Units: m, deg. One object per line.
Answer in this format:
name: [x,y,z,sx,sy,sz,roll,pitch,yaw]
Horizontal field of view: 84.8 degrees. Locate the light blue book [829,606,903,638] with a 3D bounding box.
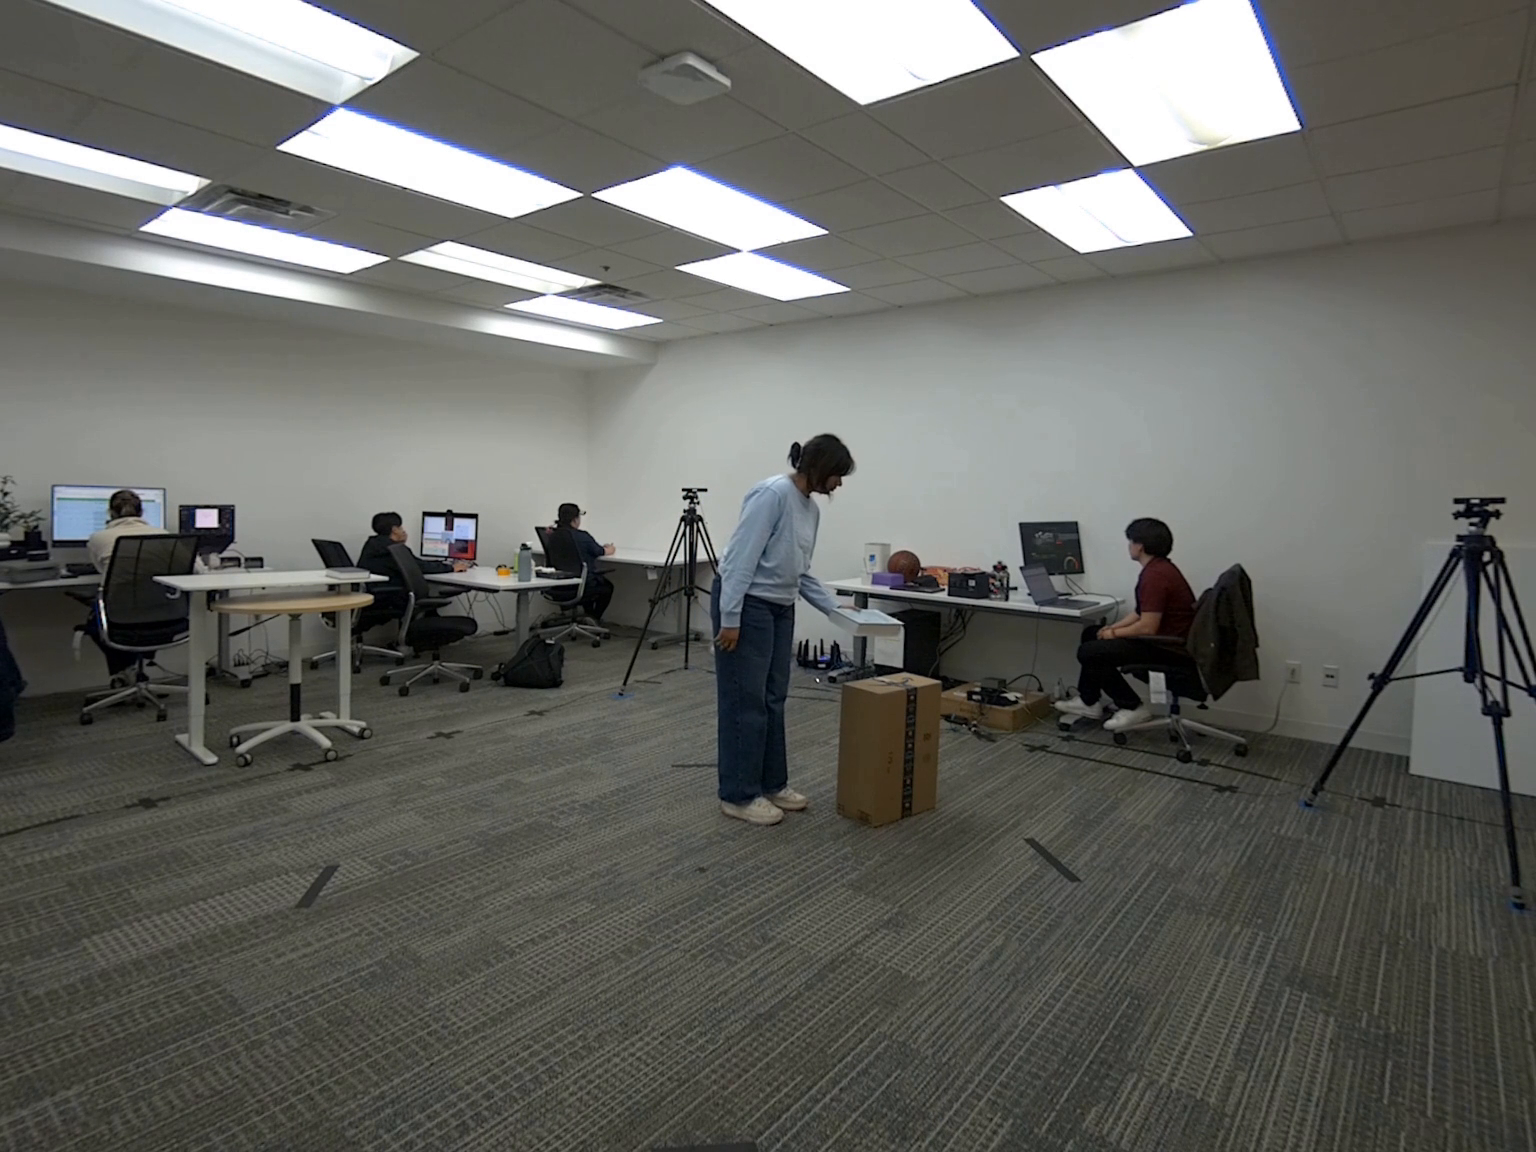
light blue book: [0.414,0.198,3.676,0.253,0.058,0.199,1,16,-34]
